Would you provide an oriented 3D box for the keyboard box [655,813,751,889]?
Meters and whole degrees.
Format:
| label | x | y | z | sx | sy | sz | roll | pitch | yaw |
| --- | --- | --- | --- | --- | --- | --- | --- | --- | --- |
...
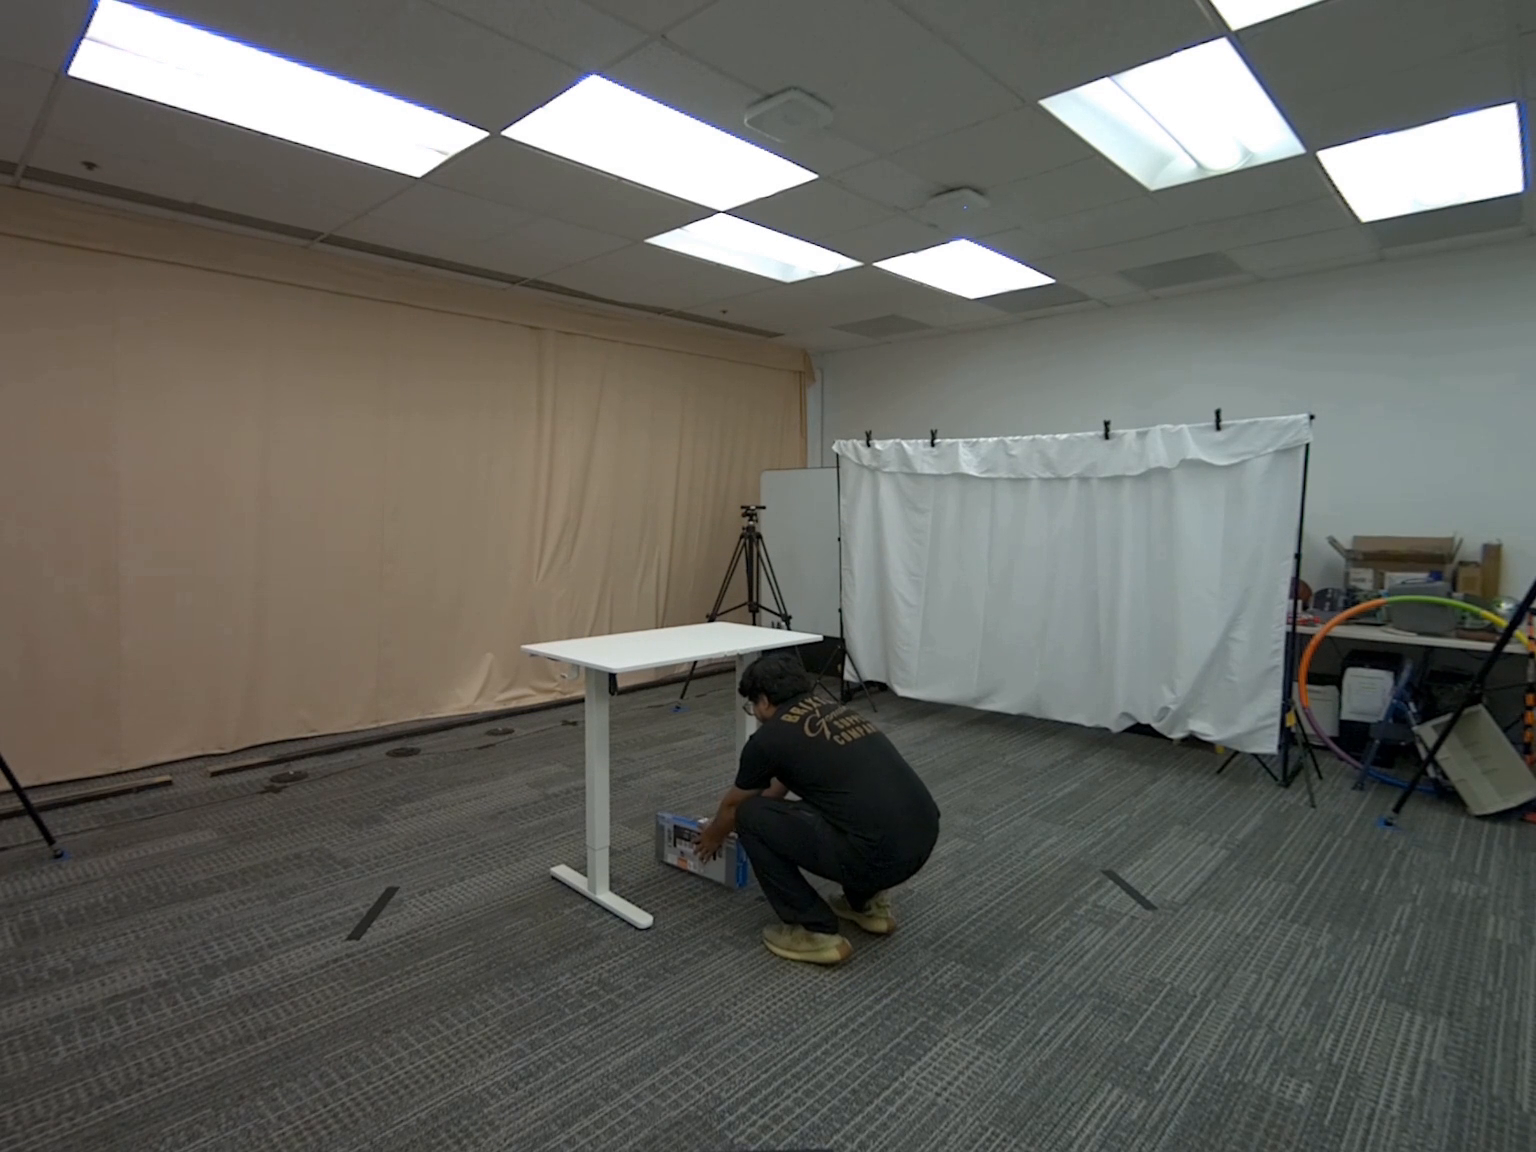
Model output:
| label | x | y | z | sx | sy | sz | roll | pitch | yaw |
| --- | --- | --- | --- | --- | --- | --- | --- | --- | --- |
| keyboard box | -0.259 | 1.023 | 3.164 | 0.451 | 0.176 | 0.057 | 2 | 1 | 43 |
